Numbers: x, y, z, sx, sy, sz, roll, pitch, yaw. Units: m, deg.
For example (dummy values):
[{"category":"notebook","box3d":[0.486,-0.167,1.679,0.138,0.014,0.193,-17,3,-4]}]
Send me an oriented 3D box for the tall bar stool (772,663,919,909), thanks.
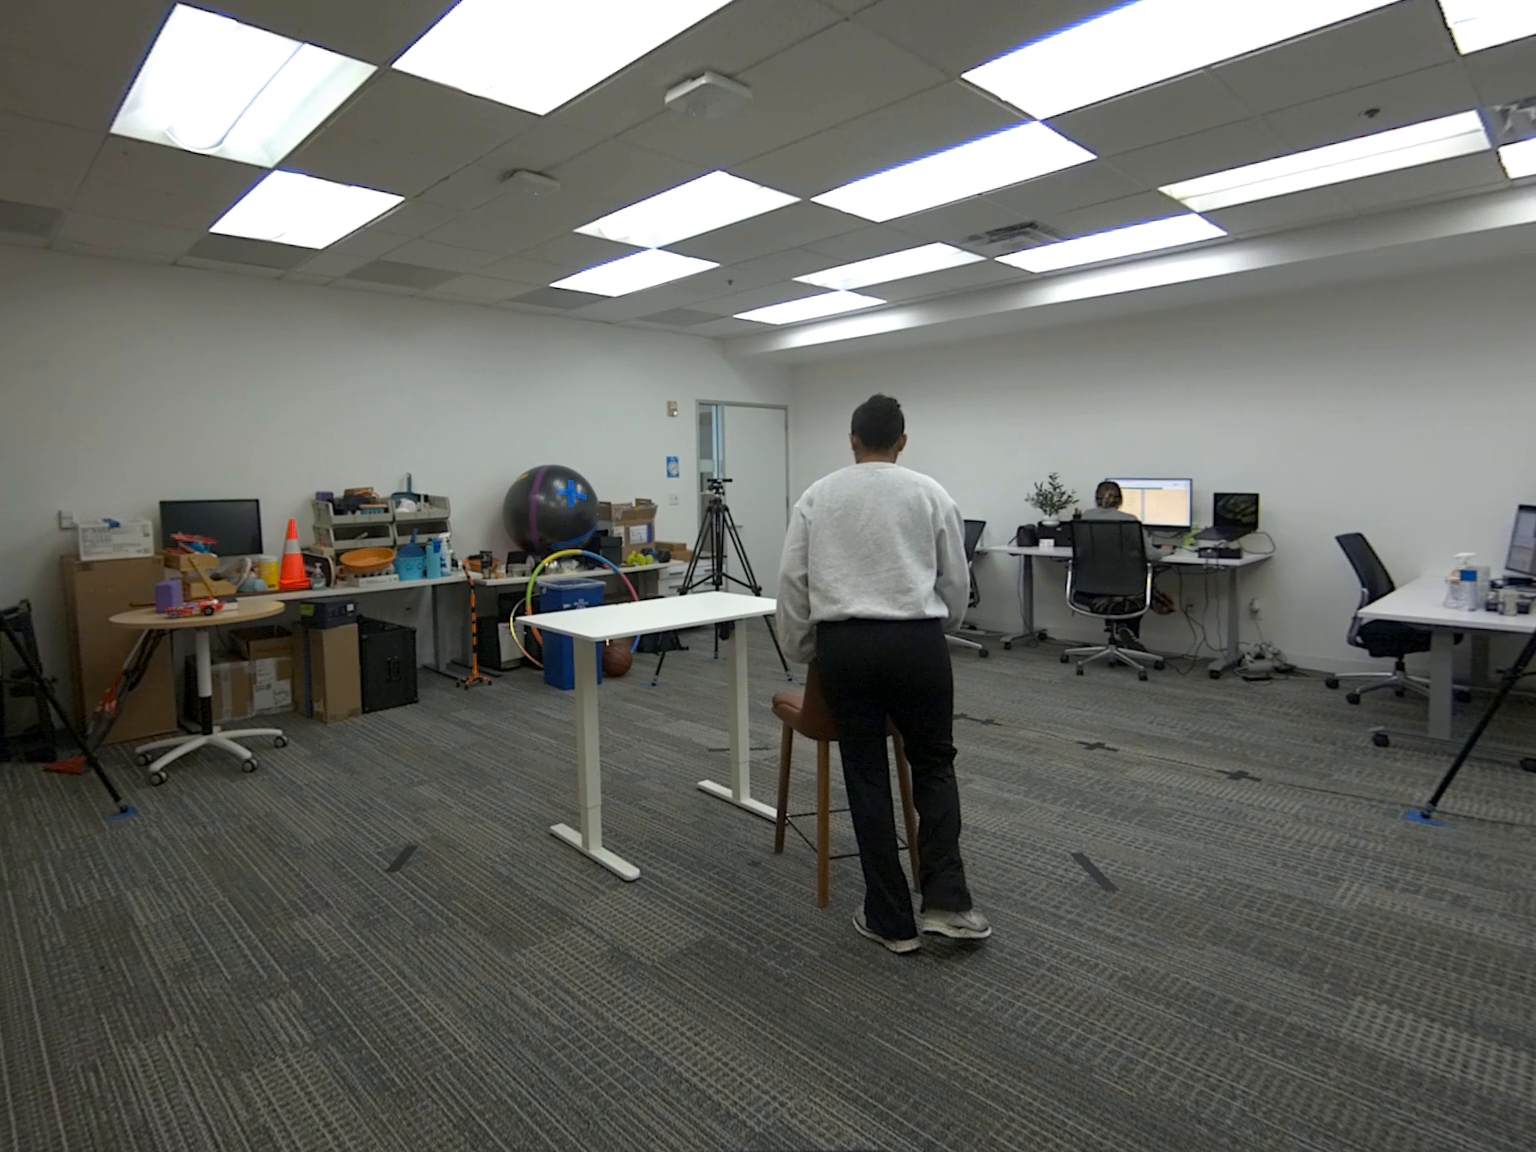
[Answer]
[{"category":"tall bar stool","box3d":[0.283,0.613,3.005,0.450,0.885,0.477,-2,6,-16]}]
